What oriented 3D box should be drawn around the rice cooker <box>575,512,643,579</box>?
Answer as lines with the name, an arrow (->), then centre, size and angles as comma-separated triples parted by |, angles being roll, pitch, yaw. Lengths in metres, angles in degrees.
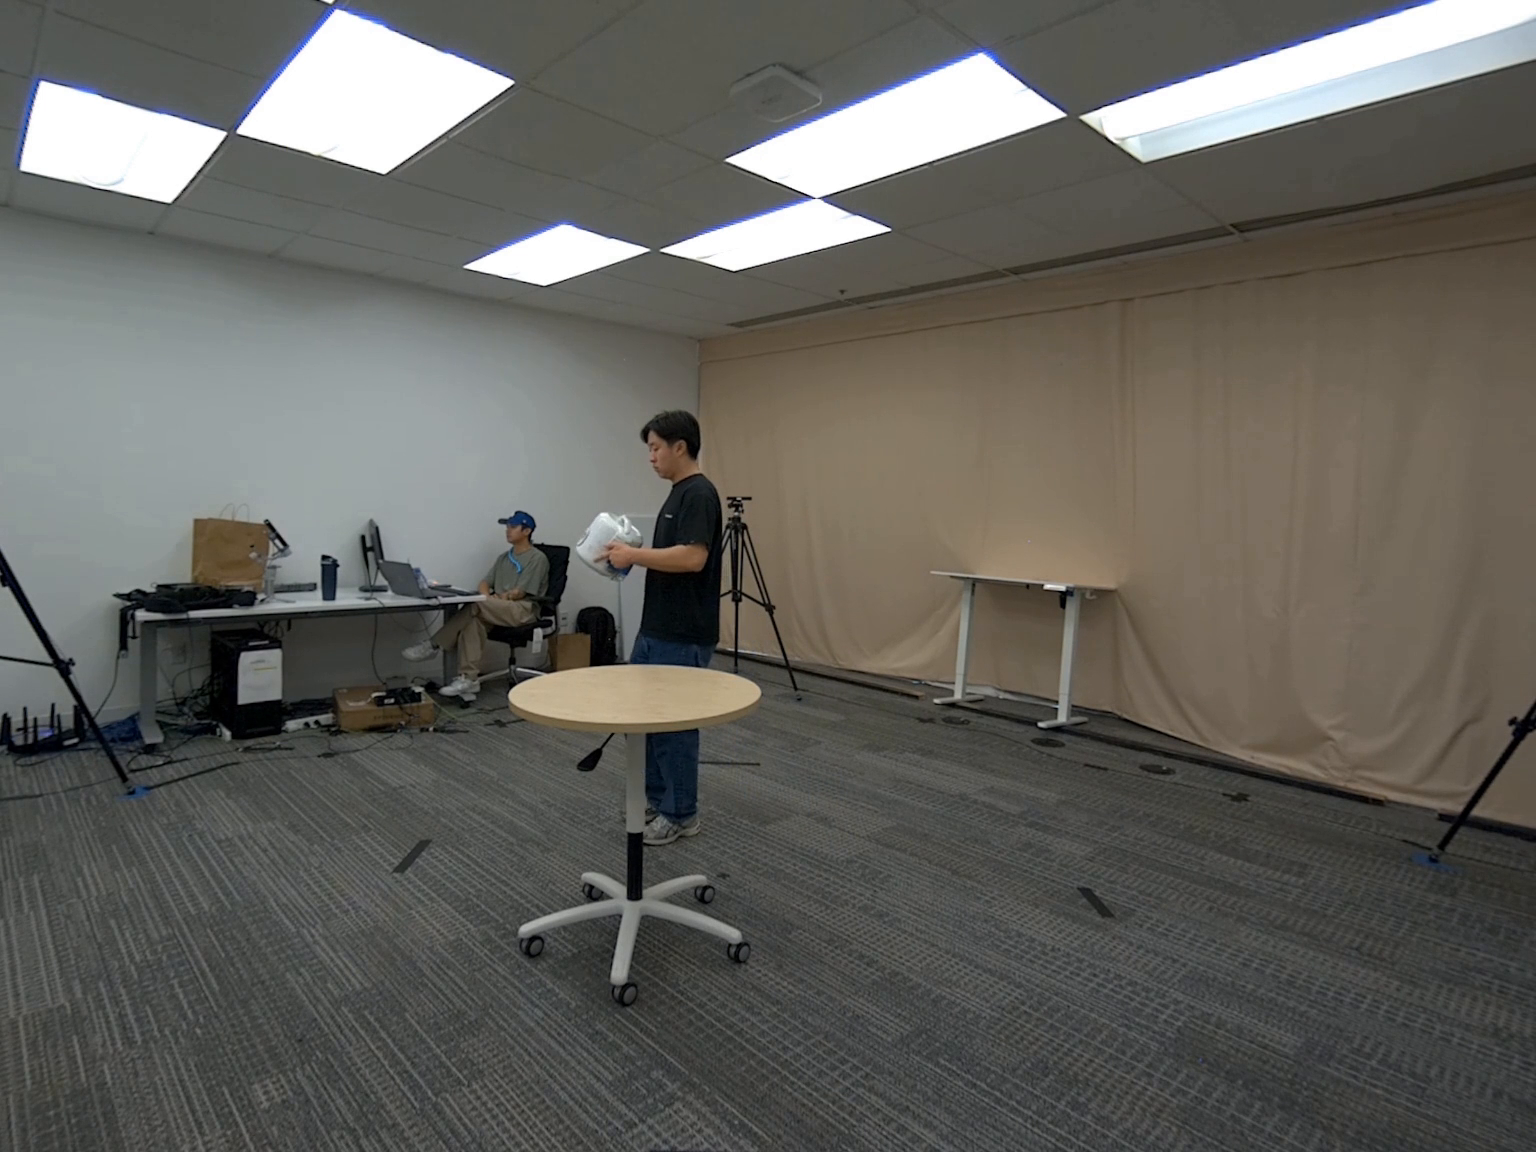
rice cooker -> -0.619, -0.127, 3.331 | 0.212, 0.232, 0.226 | 33, 8, -23
